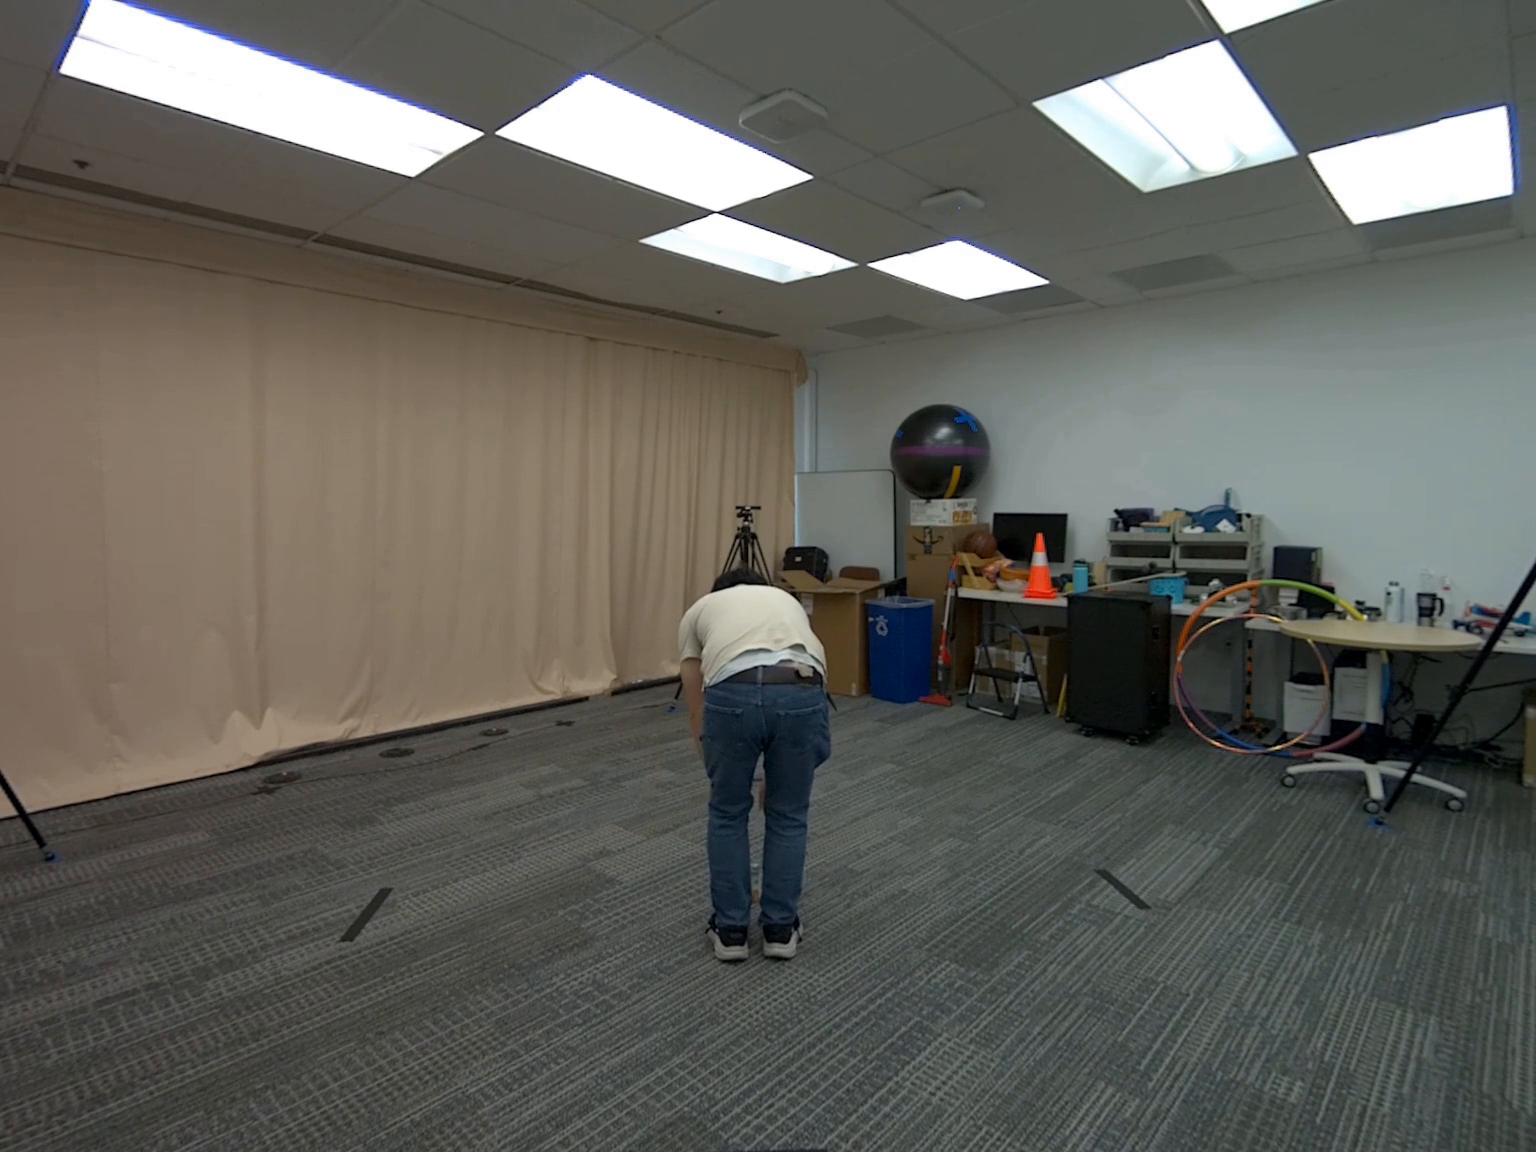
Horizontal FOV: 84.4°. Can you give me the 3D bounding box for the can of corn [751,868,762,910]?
[{"bbox_3d":[-0.040,1.099,2.982,0.074,0.111,0.074,3,4,-2],"label":"can of corn"}]
